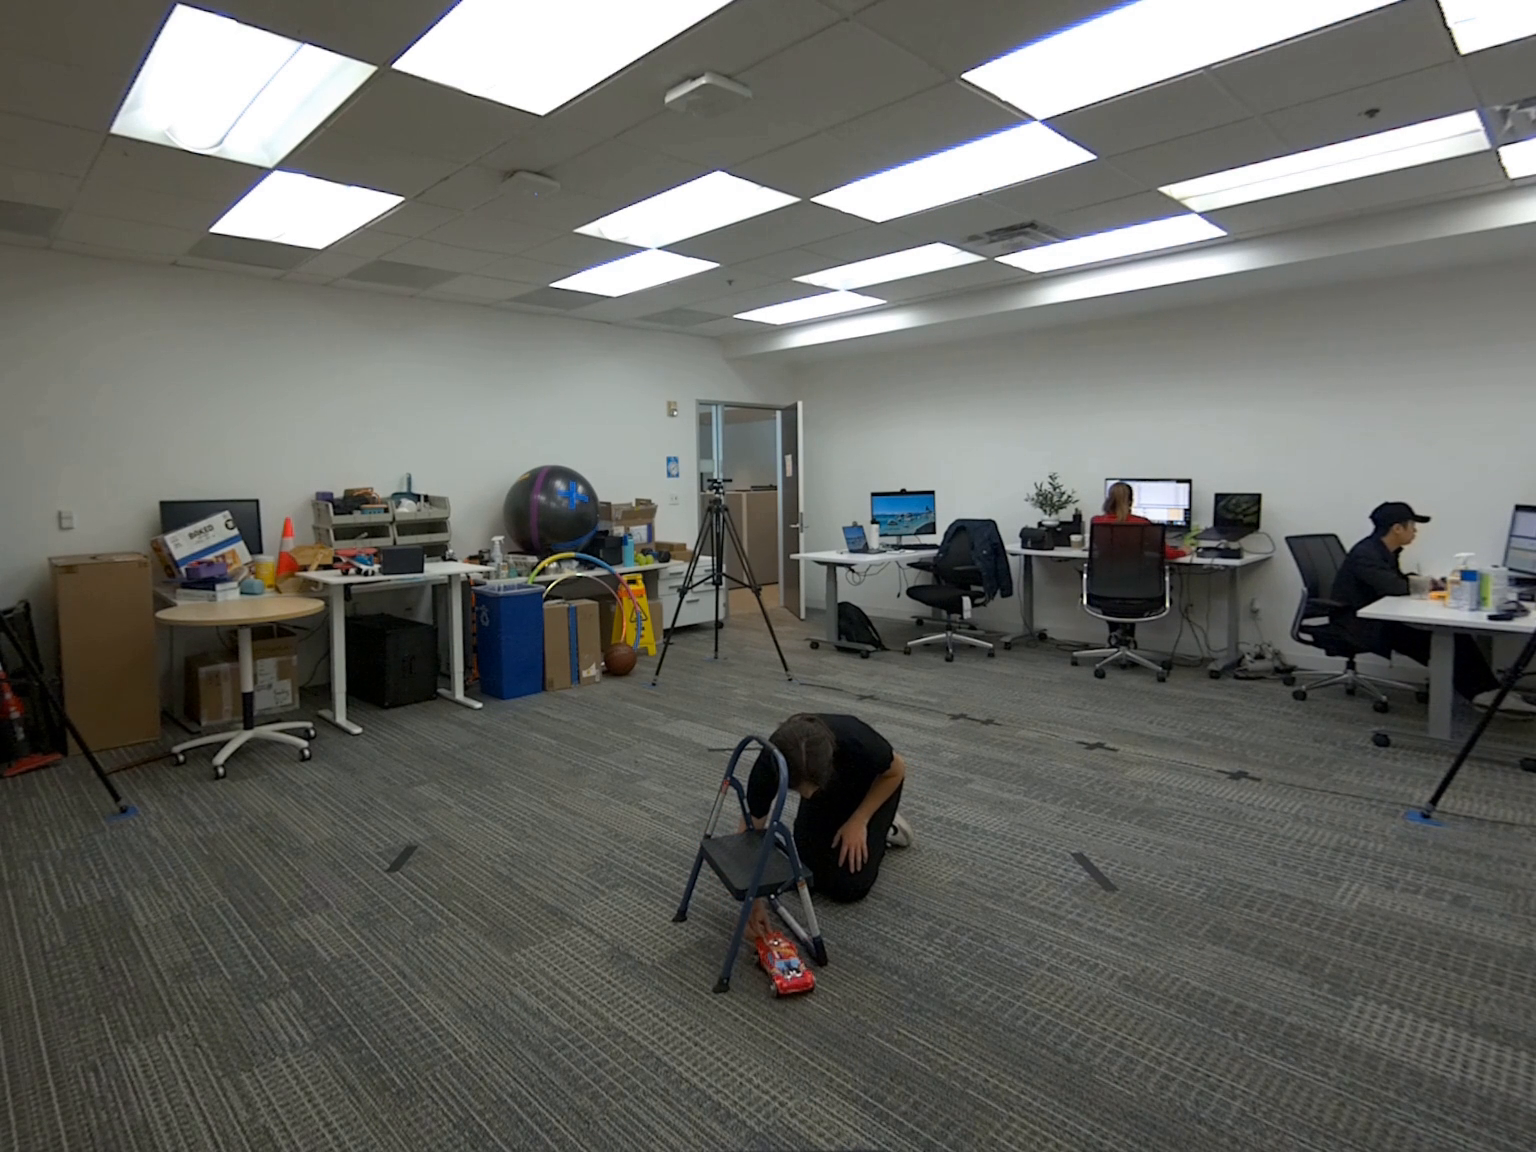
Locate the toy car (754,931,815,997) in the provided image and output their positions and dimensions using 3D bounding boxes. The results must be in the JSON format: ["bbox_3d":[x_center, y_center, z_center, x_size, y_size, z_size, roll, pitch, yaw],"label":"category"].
[{"bbox_3d":[0.048,1.099,2.401,0.128,0.082,0.262,-2,16,-17],"label":"toy car"}]
